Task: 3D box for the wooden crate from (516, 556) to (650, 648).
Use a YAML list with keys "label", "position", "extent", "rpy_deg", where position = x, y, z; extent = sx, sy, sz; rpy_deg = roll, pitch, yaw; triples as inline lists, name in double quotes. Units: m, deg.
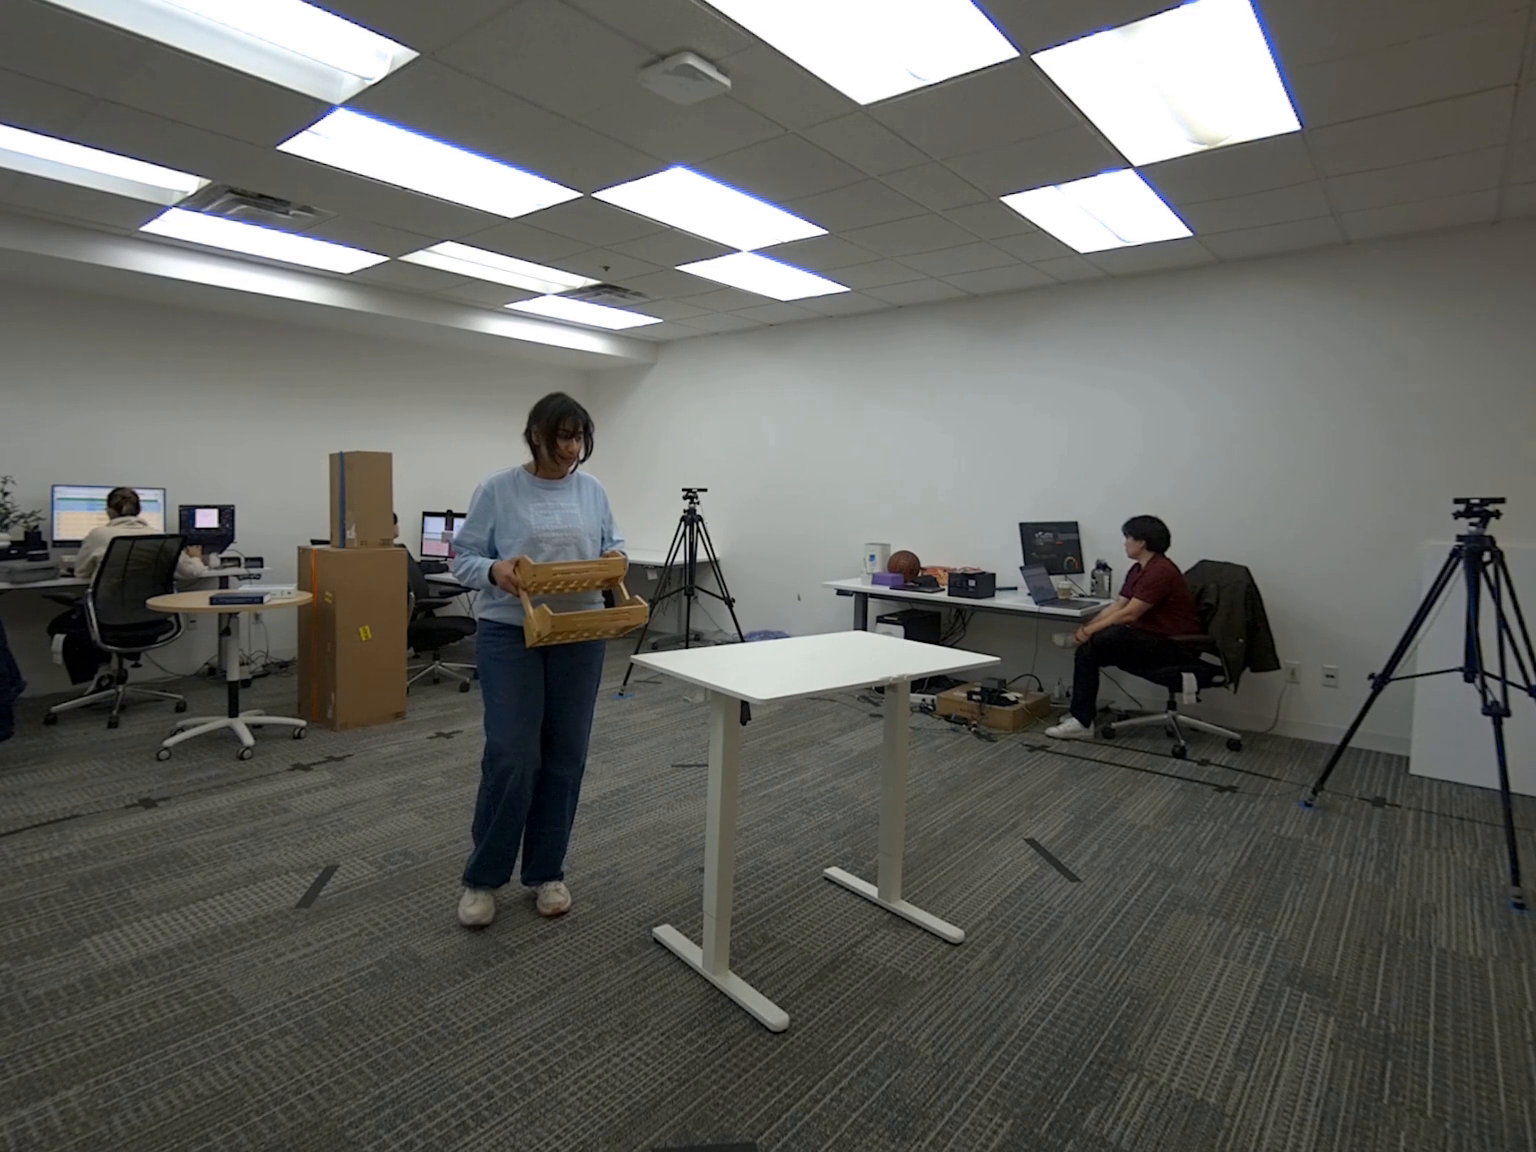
- label: "wooden crate"
  position: [-0.593, 0.052, 2.567]
  extent: [0.316, 0.277, 0.305]
  rpy_deg: [-4, -14, -32]
